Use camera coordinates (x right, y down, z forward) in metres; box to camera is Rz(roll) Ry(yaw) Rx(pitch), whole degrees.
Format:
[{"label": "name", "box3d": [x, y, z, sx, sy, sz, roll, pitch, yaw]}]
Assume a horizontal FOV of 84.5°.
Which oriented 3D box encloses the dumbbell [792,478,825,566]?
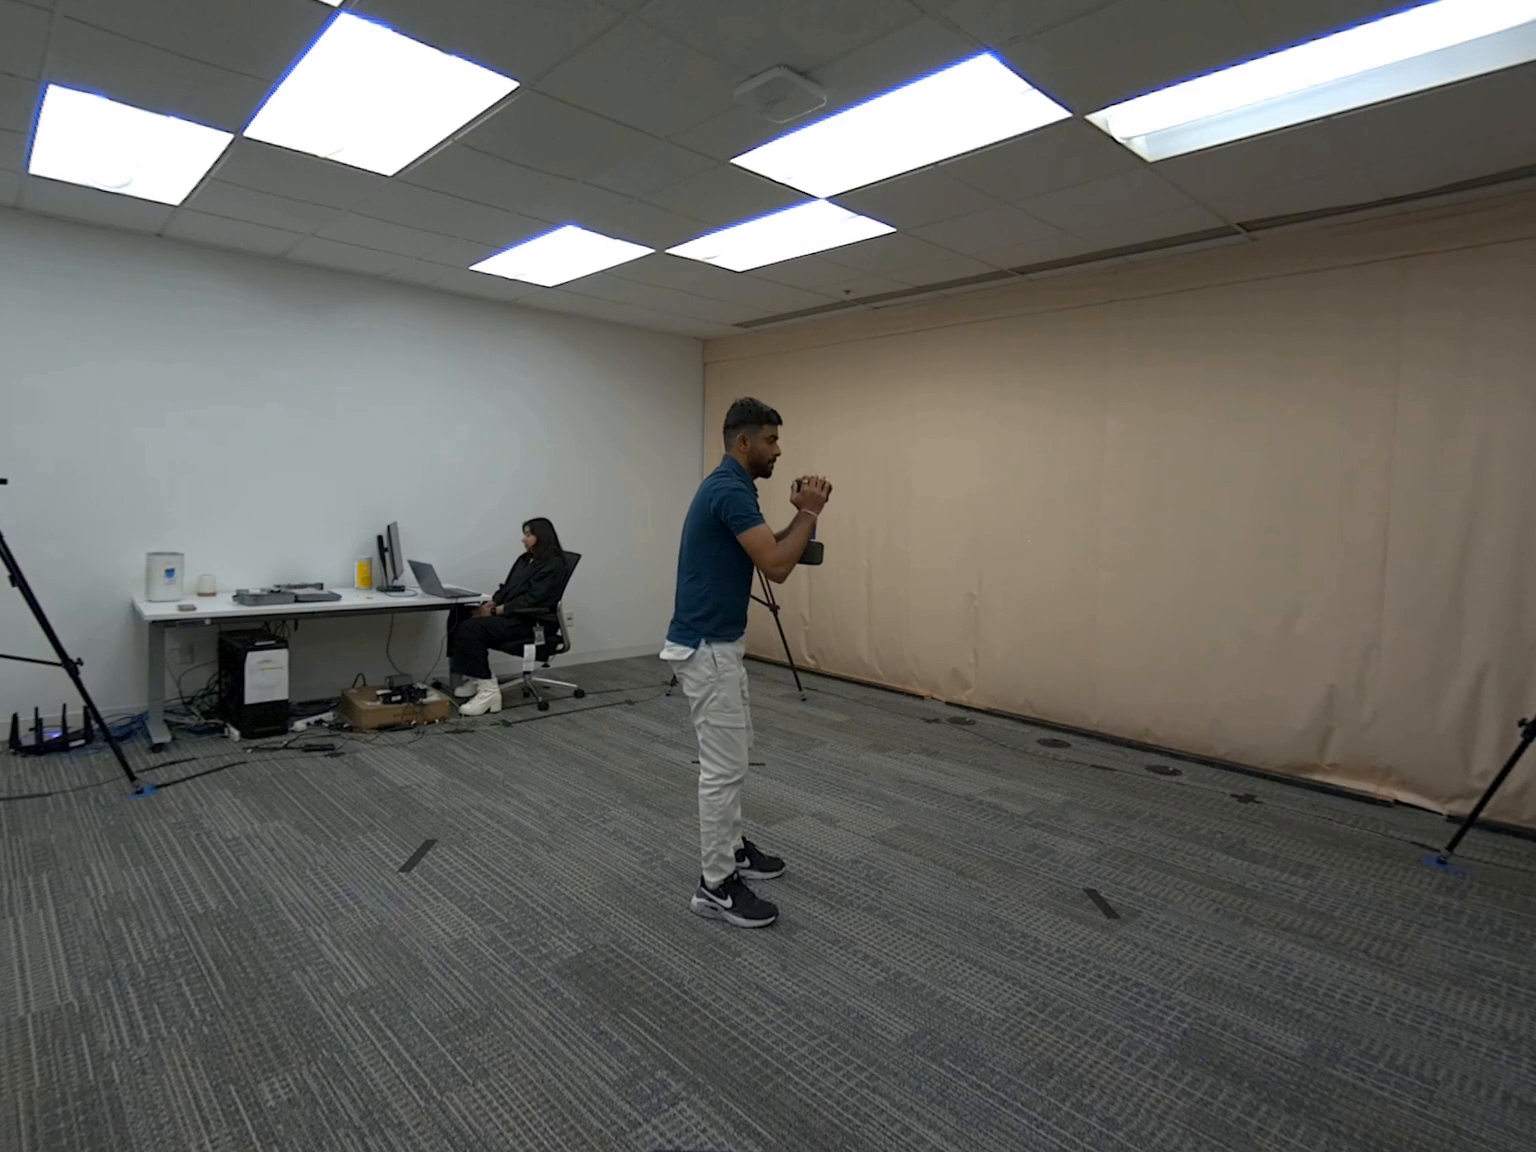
[{"label": "dumbbell", "box3d": [0.135, -0.179, 2.863, 0.123, 0.293, 0.109, 5, 2, 0]}]
